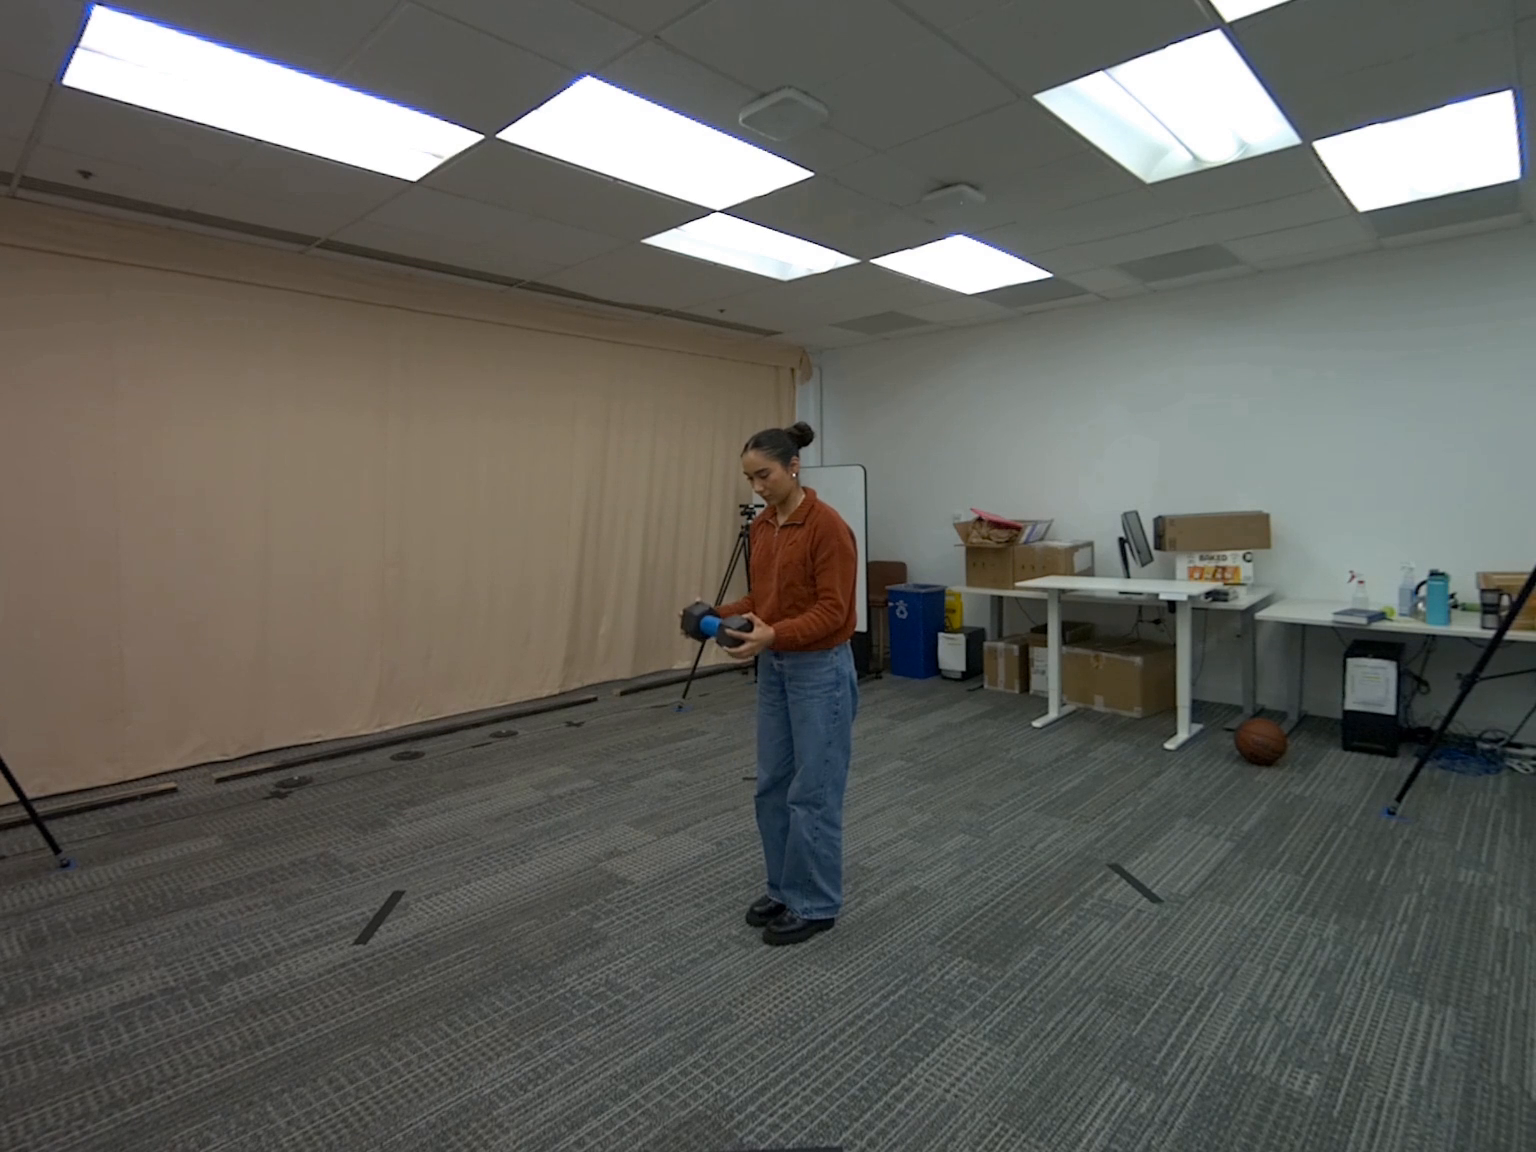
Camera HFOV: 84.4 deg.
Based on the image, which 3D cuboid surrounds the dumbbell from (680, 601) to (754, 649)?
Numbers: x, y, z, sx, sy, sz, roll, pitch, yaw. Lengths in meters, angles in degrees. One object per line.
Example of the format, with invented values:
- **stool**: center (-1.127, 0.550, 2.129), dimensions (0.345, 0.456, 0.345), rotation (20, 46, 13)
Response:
- **dumbbell**: center (-0.139, 0.161, 2.617), dimensions (0.121, 0.107, 0.303), rotation (-25, 22, -24)
